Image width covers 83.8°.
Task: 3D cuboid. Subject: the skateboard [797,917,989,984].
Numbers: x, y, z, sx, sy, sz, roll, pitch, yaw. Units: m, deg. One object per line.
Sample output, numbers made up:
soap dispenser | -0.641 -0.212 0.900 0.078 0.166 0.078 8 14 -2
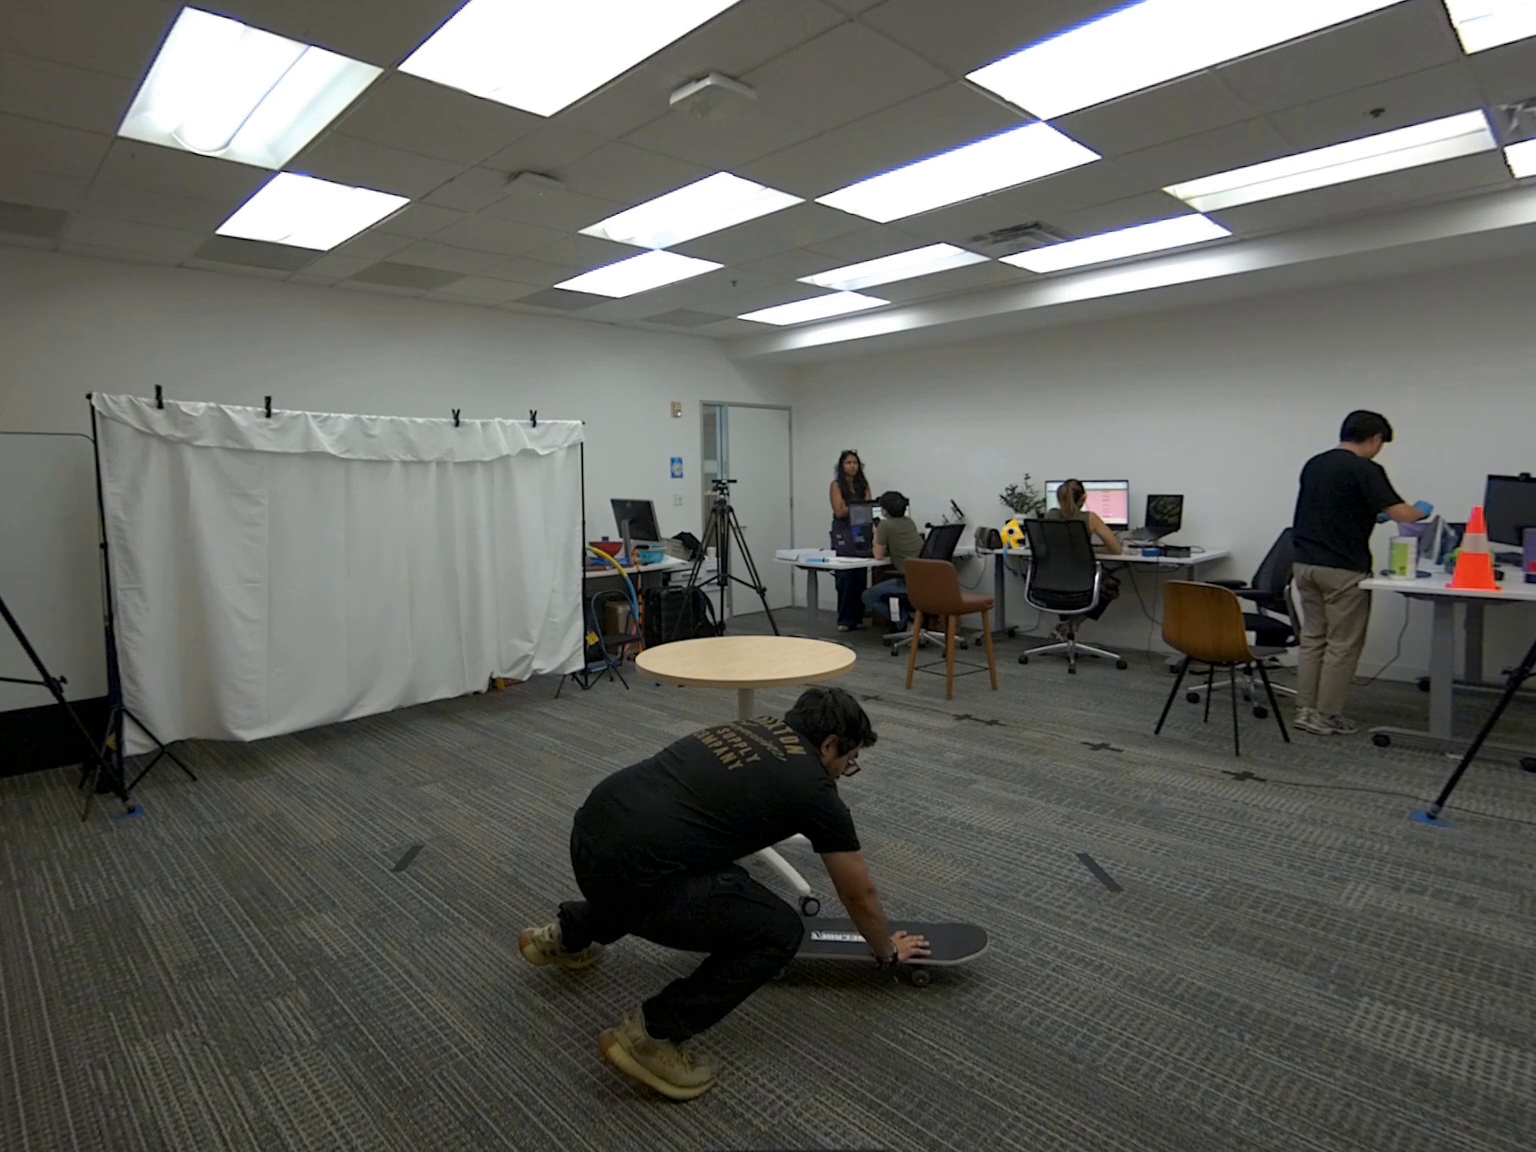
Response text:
skateboard | 0.232 1.058 2.445 0.790 0.110 0.193 -1 6 6
